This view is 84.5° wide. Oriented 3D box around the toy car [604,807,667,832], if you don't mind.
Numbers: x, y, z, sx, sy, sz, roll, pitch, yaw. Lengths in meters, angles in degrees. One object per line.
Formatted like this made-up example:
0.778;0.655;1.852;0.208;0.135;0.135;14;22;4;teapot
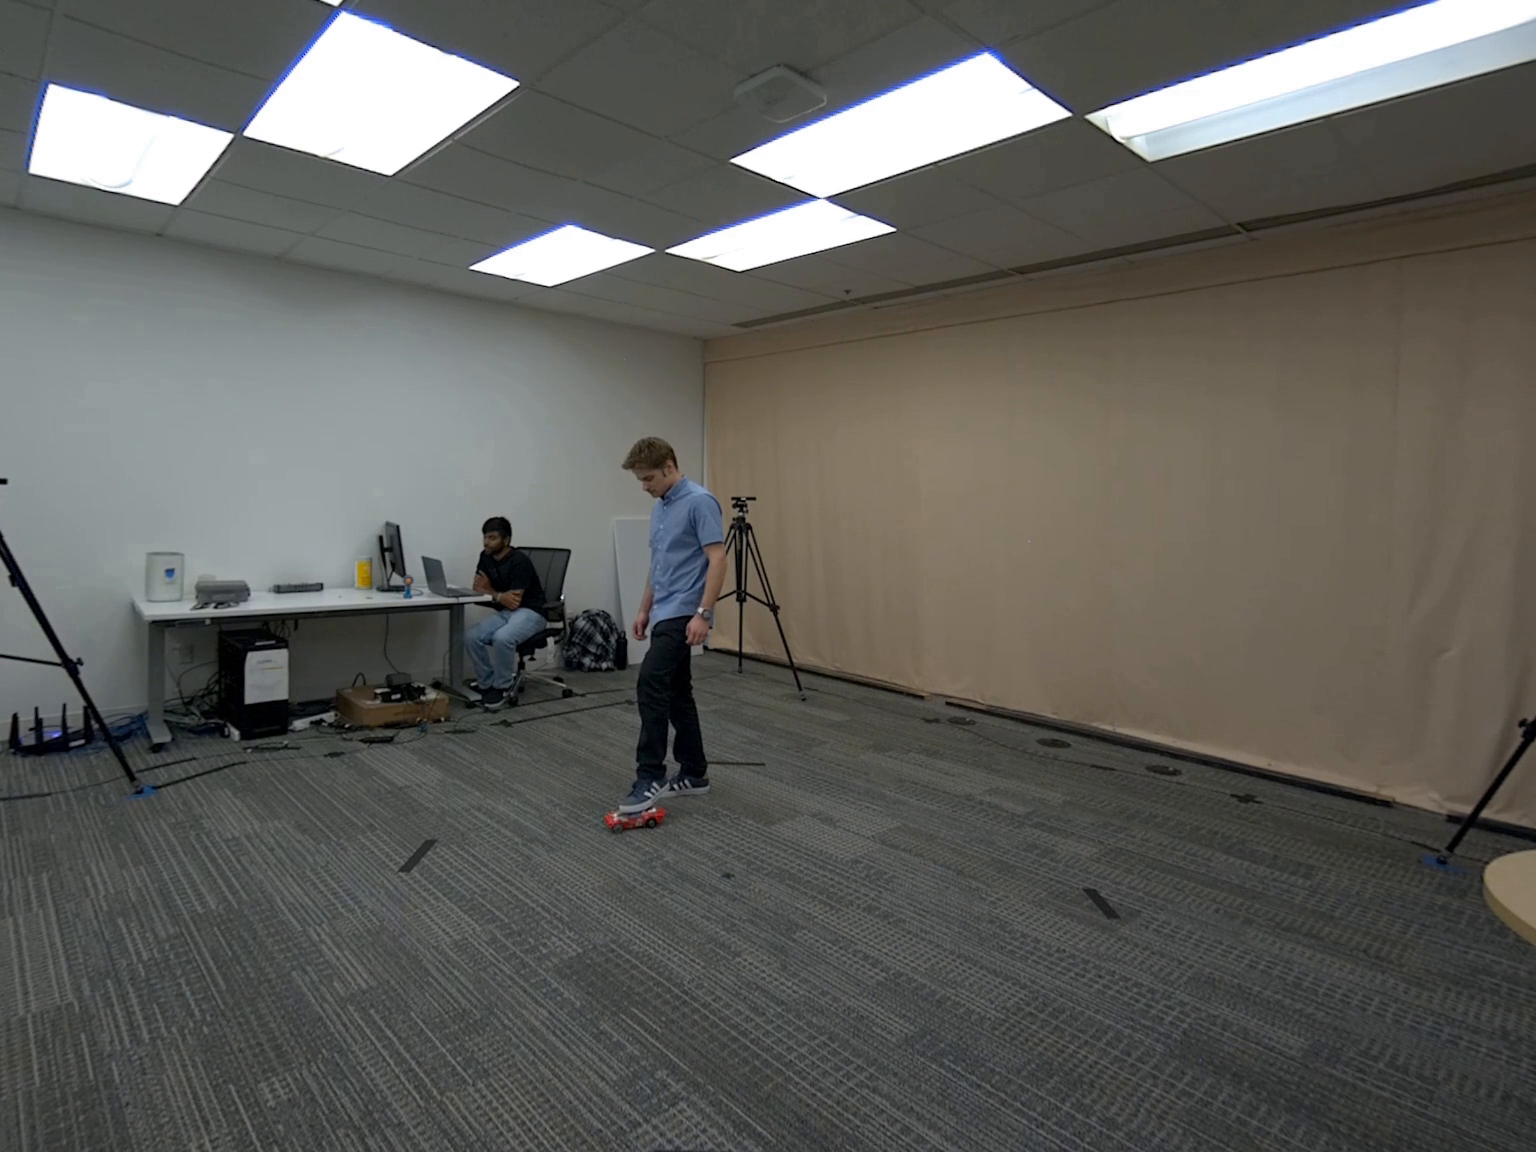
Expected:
-0.571;1.028;3.563;0.251;0.083;0.133;-12;8;-22;toy car
